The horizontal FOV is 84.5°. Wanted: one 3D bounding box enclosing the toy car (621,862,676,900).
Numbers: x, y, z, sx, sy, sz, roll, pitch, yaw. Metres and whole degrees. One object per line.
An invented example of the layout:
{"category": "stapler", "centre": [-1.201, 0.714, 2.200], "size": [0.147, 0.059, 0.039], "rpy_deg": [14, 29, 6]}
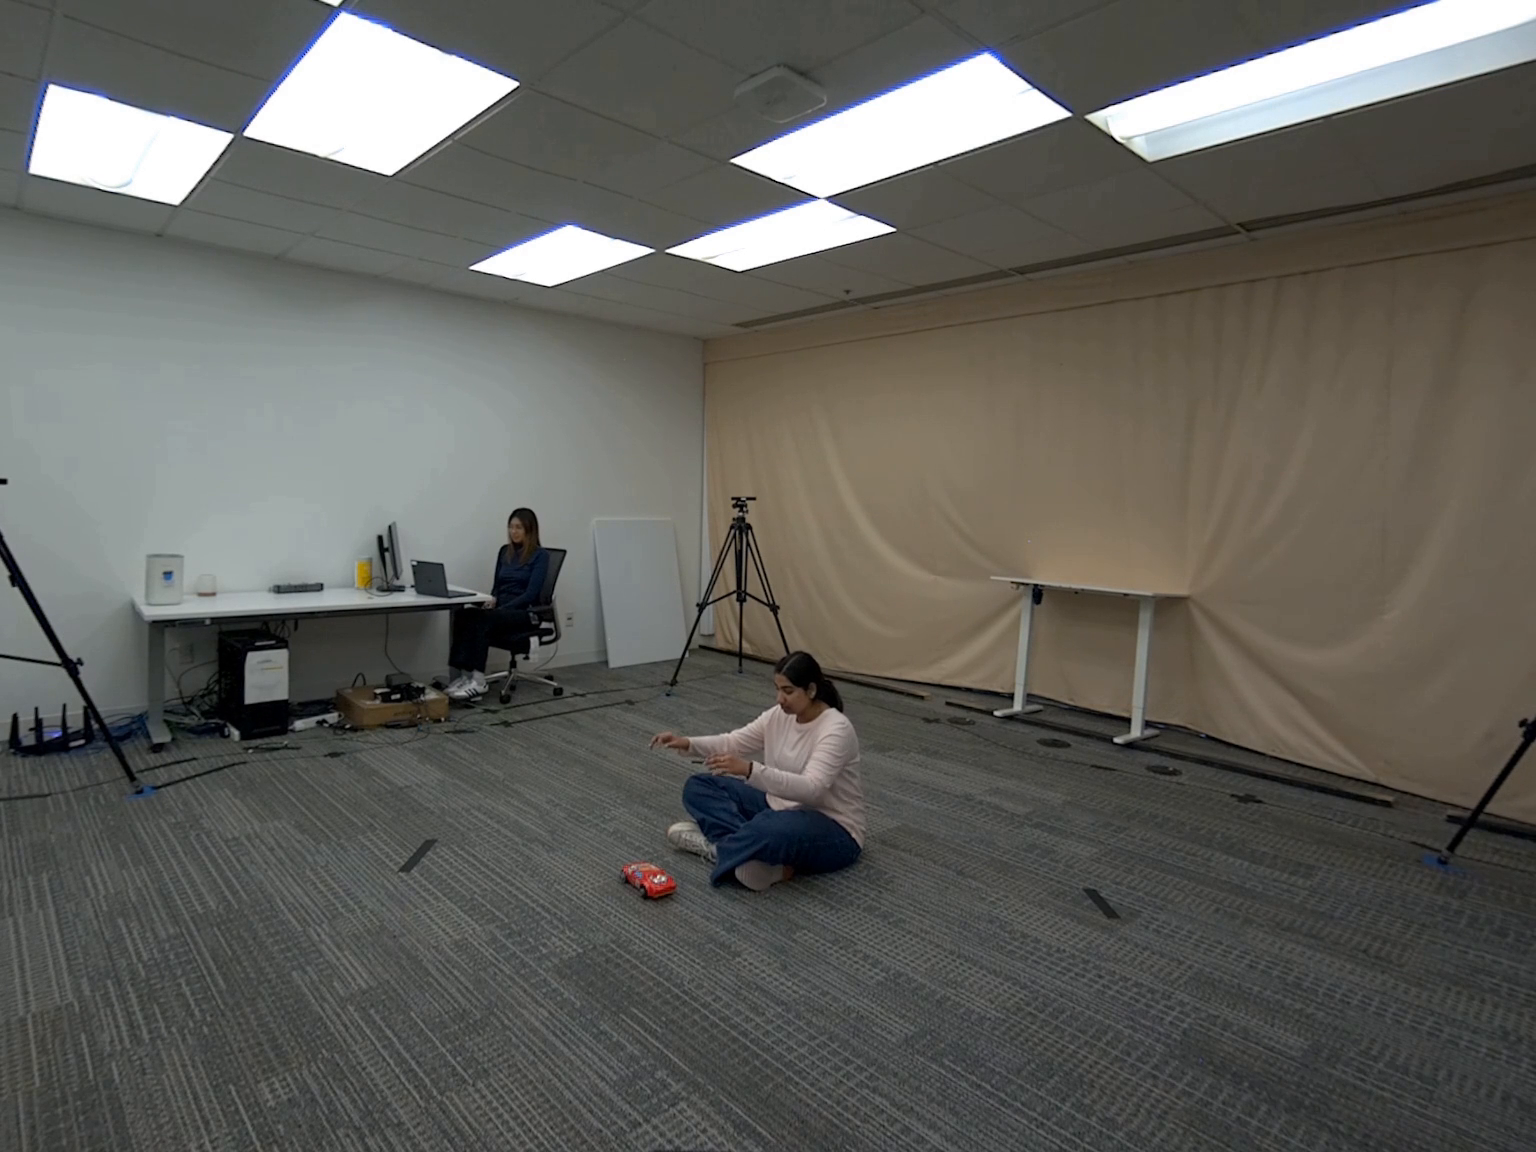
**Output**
{"category": "toy car", "centre": [-0.427, 1.072, 2.979], "size": [0.127, 0.083, 0.259], "rpy_deg": [-1, -5, -35]}
